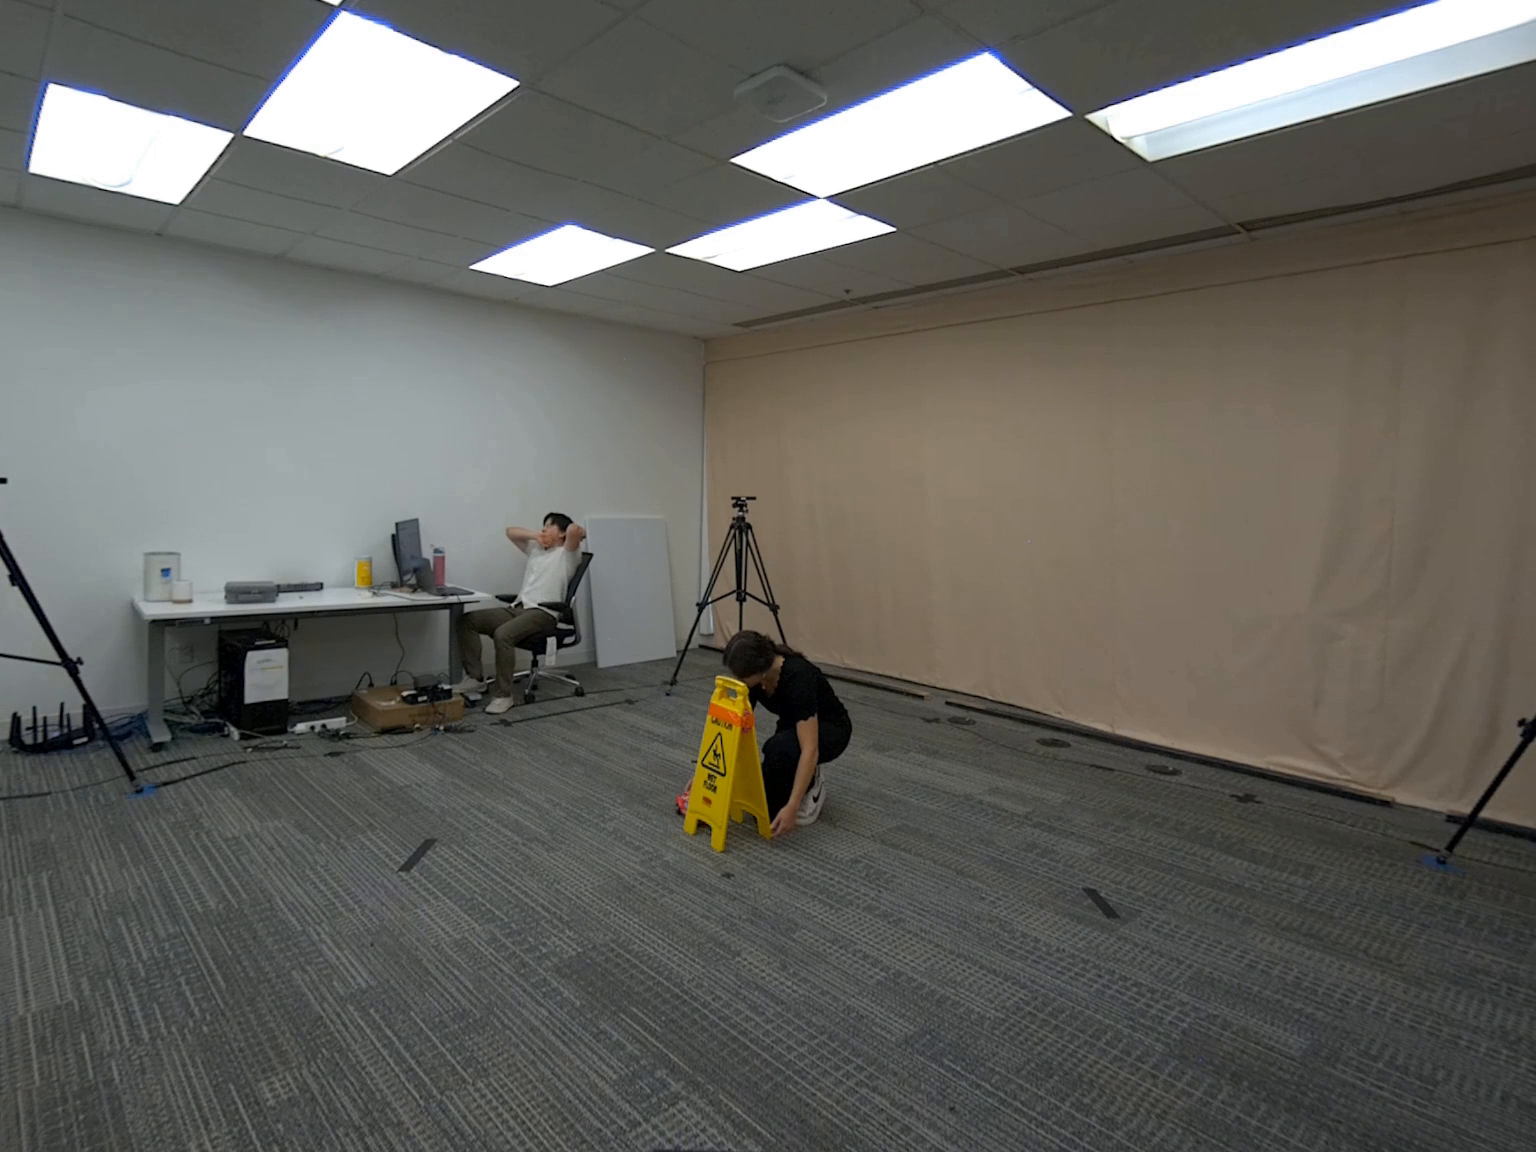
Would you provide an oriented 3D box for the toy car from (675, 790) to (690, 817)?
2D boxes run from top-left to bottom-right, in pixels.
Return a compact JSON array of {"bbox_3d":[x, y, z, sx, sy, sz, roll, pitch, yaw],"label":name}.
[{"bbox_3d":[-0.327,1.019,3.672,0.128,0.082,0.261,-3,17,-25],"label":"toy car"}]
